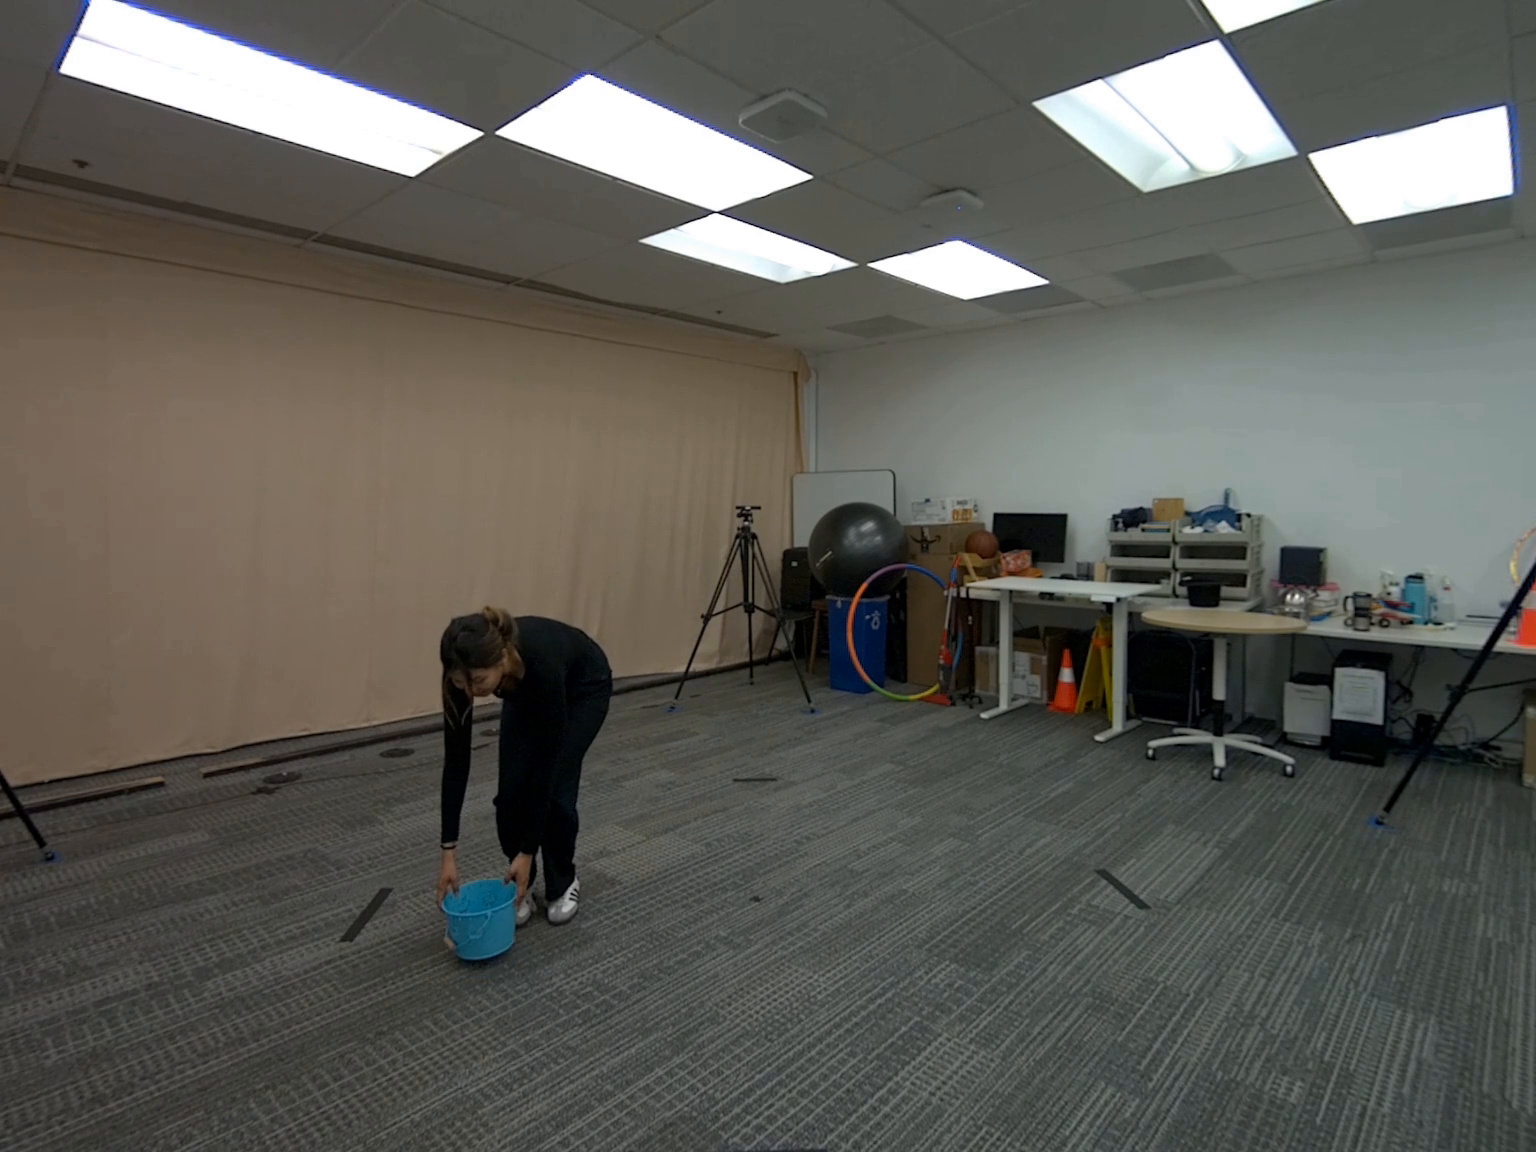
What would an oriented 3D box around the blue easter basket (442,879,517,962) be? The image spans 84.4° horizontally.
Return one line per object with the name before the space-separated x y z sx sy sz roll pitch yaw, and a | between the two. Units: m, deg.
blue easter basket | -0.890 1.044 2.607 0.243 0.155 0.244 -3 5 -2
